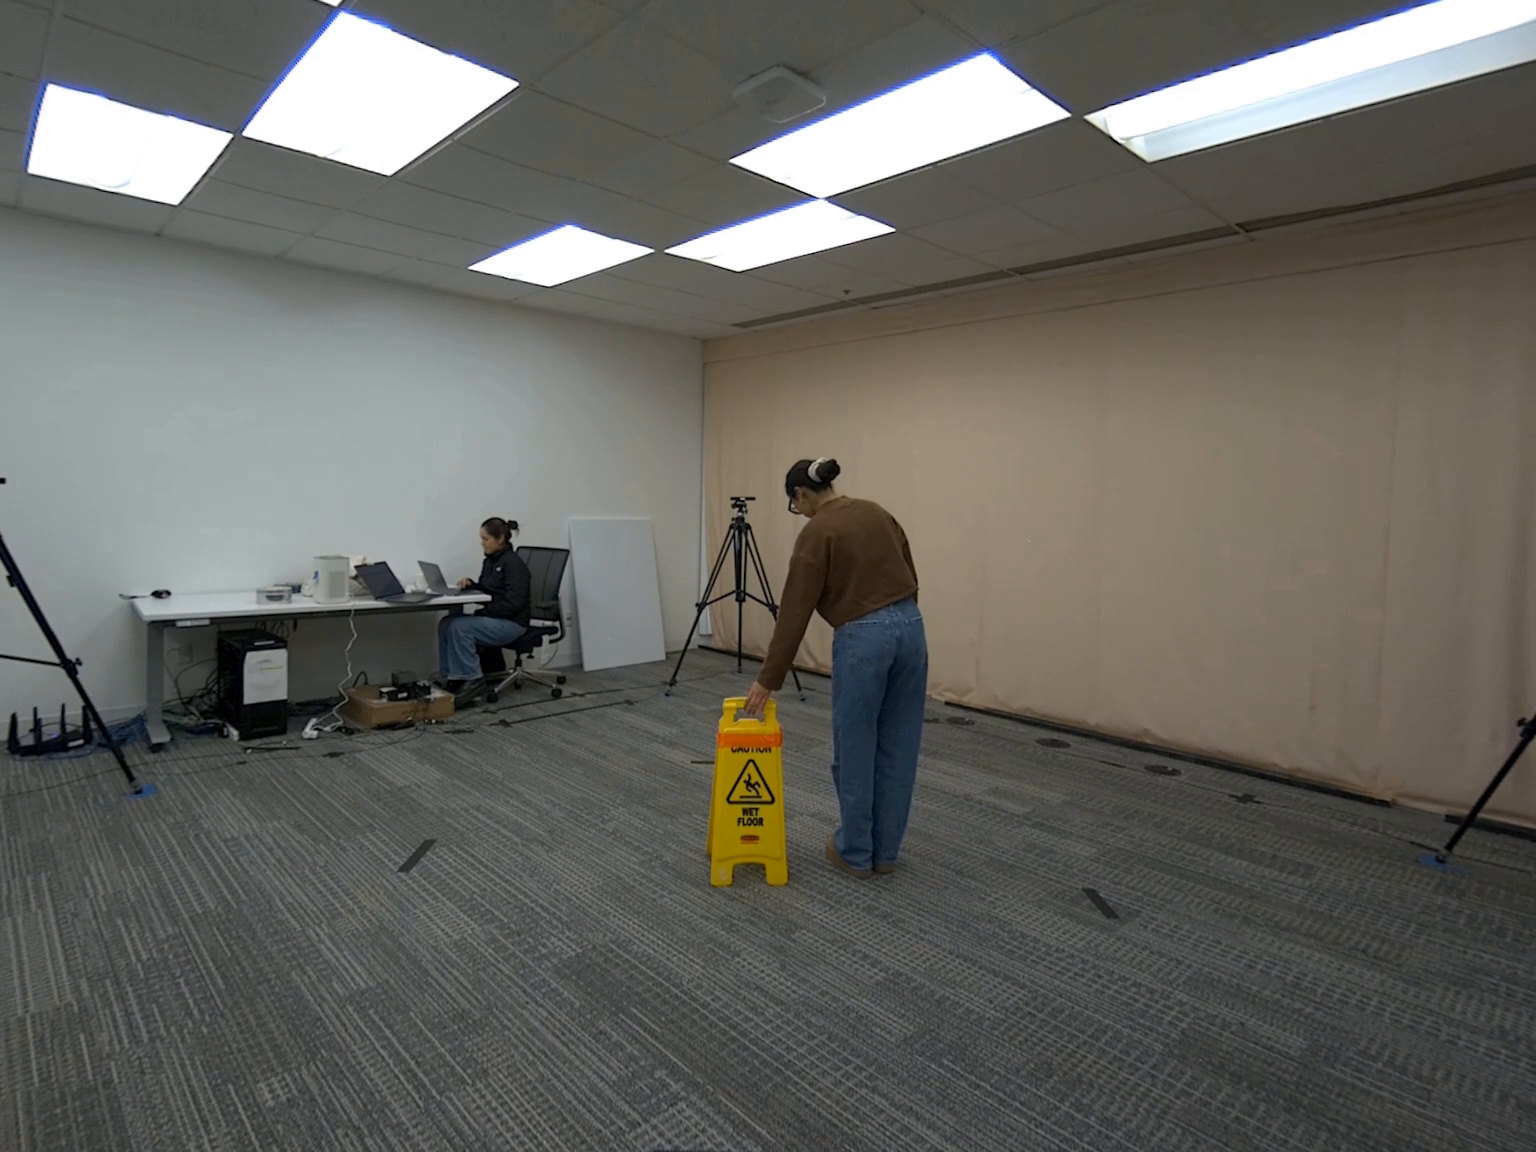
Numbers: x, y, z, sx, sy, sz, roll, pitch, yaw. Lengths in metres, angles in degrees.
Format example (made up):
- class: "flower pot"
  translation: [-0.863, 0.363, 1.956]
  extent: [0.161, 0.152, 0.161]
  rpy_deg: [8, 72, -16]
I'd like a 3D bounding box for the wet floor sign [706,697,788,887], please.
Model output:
- class: "wet floor sign"
  translation: [-0.088, 0.775, 3.153]
  extent: [0.281, 0.645, 0.292]
  rpy_deg: [1, 2, -7]
